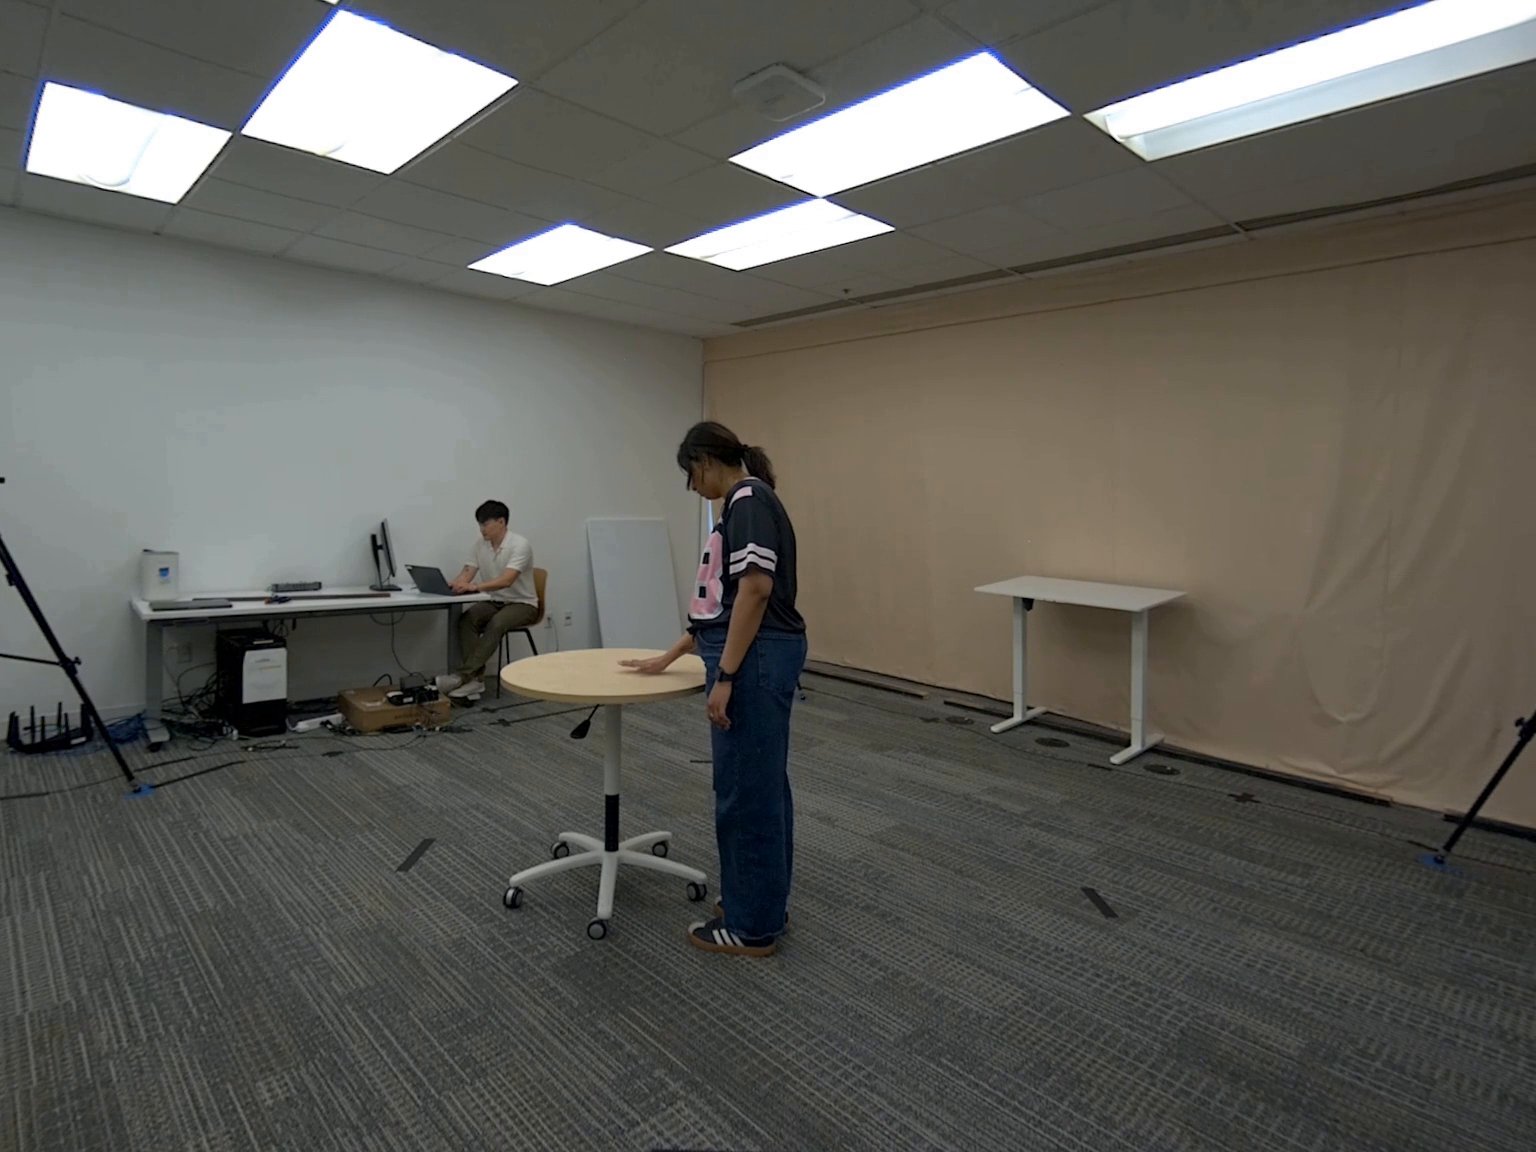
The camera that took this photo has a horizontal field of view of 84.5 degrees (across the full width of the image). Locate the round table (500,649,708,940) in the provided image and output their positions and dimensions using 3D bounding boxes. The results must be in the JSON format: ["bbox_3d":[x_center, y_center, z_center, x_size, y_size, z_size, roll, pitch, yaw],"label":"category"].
[{"bbox_3d":[-0.560,0.718,2.950,0.784,0.784,0.788,1,4,-1],"label":"round table"}]
